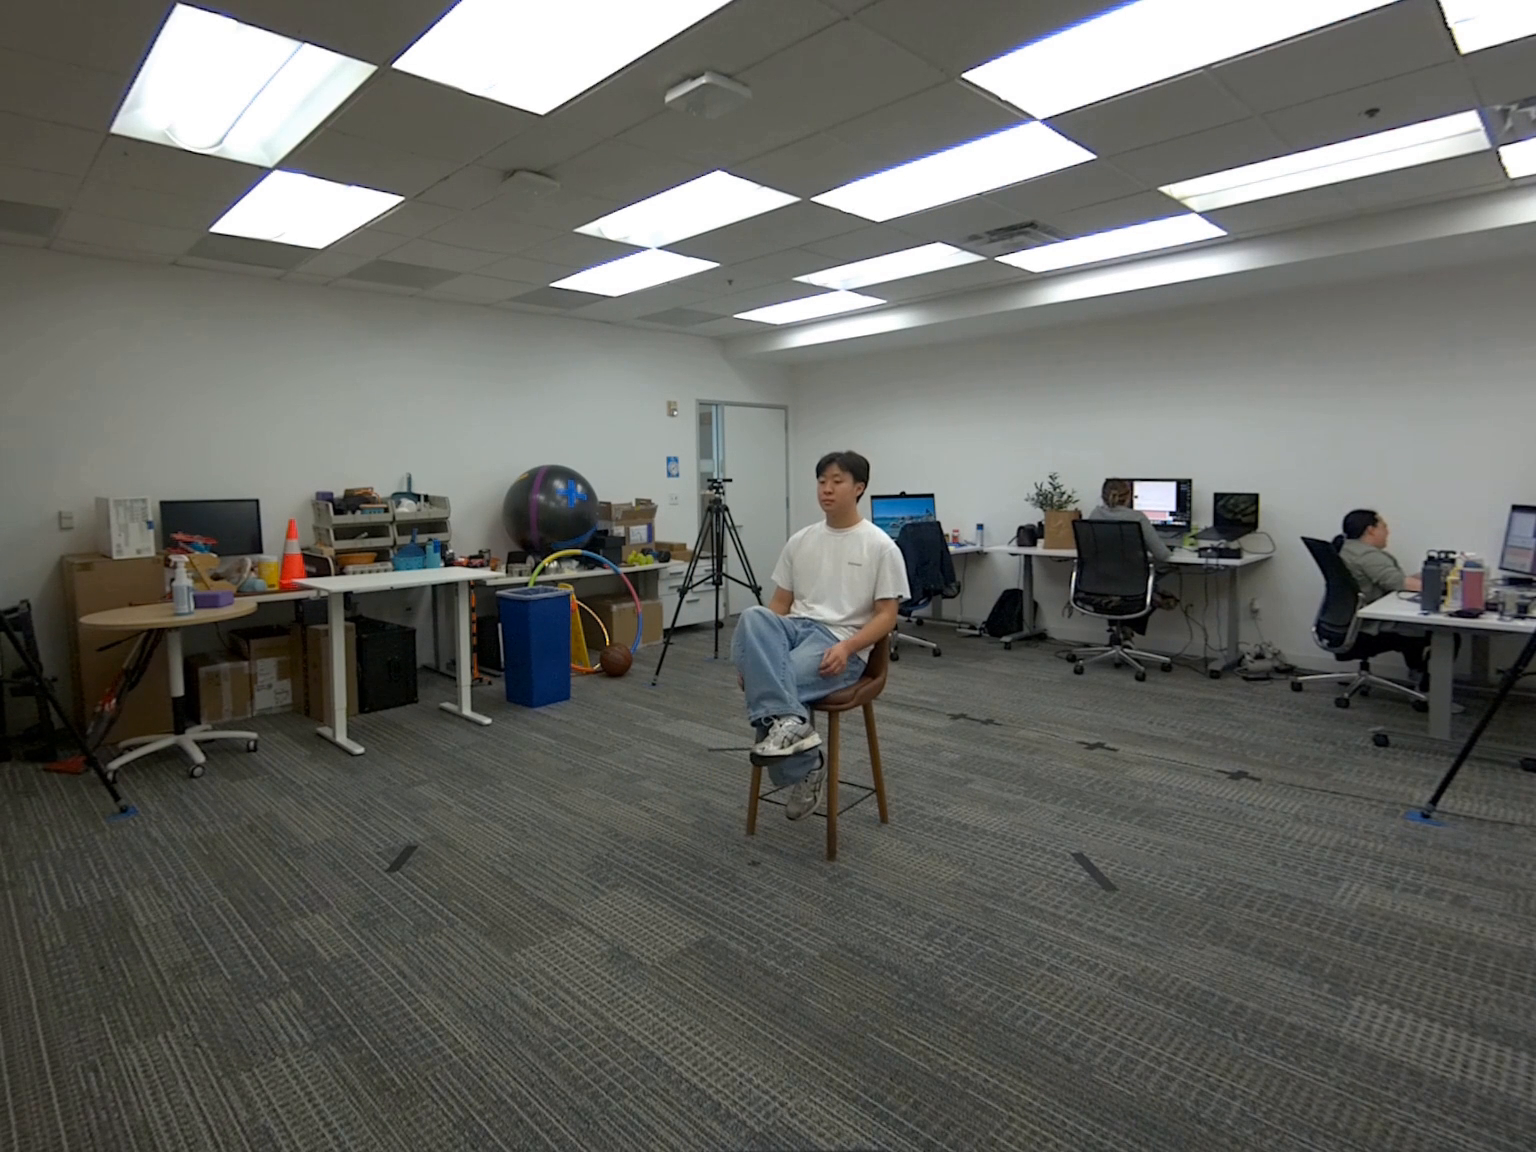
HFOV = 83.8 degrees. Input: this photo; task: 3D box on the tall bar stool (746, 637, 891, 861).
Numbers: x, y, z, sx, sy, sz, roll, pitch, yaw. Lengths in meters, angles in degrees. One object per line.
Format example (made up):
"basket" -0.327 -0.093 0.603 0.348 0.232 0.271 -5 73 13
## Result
"tall bar stool" 0.214 0.574 3.391 0.470 0.888 0.455 4 4 38
